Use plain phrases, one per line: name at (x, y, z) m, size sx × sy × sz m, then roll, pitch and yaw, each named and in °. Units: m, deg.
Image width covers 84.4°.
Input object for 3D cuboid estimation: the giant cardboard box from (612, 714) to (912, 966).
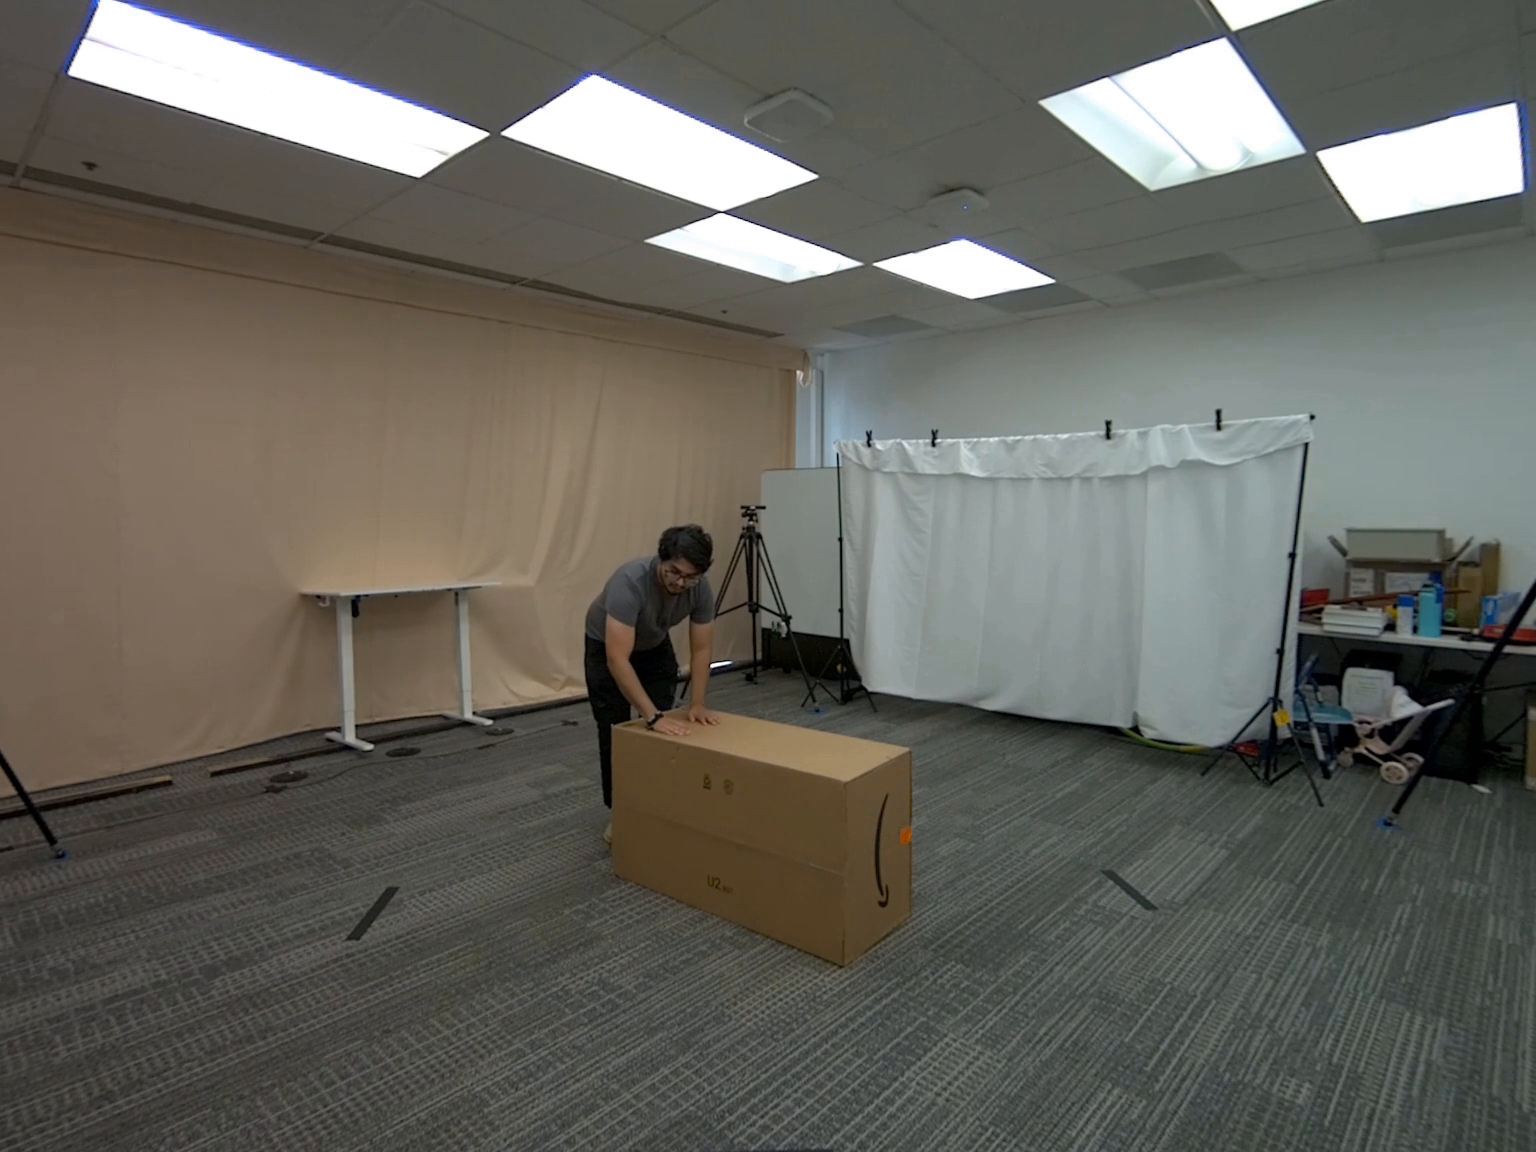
giant cardboard box at (-0.042, 0.853, 3.001) m, size 1.059 × 0.576 × 0.413 m, roll 3°, pitch 4°, yaw 39°
